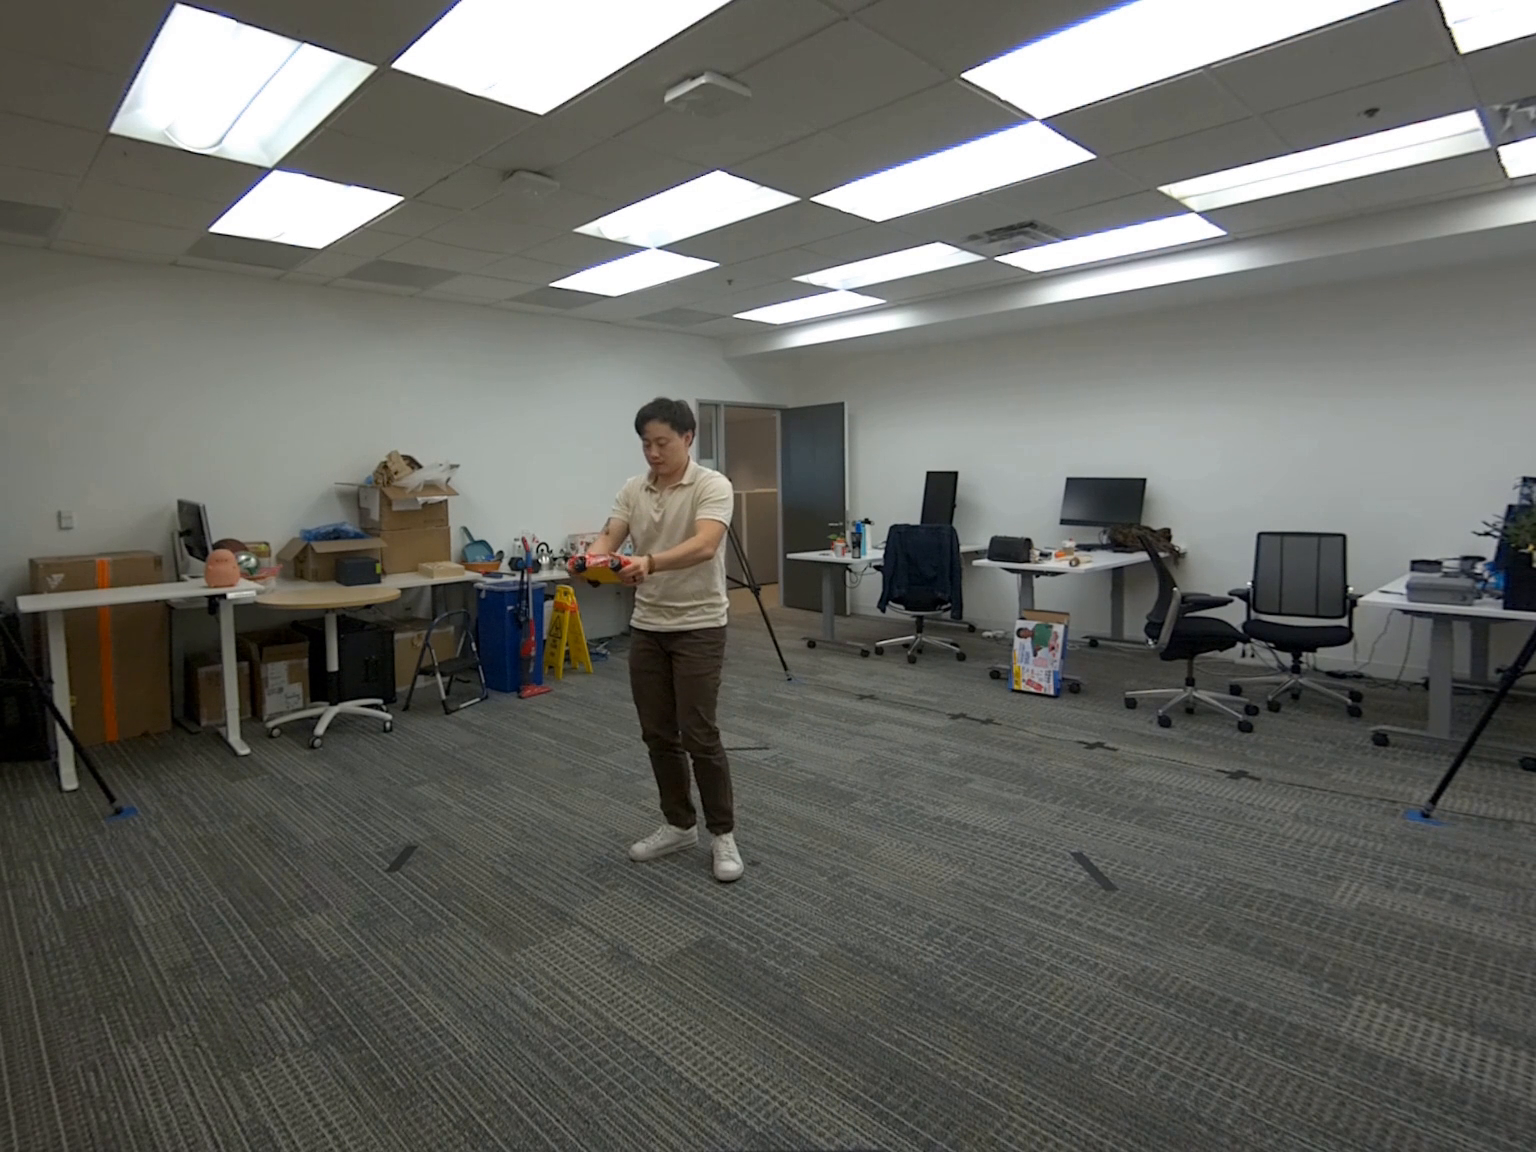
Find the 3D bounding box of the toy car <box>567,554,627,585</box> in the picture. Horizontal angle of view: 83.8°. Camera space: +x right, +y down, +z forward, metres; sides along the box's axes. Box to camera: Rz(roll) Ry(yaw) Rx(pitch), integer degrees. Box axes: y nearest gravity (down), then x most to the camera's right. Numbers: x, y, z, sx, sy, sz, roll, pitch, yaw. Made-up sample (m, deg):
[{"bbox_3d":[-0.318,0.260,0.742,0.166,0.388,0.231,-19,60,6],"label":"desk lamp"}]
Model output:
[{"bbox_3d":[-0.537,-0.021,2.762,0.263,0.084,0.125,10,-26,37],"label":"toy car"}]
